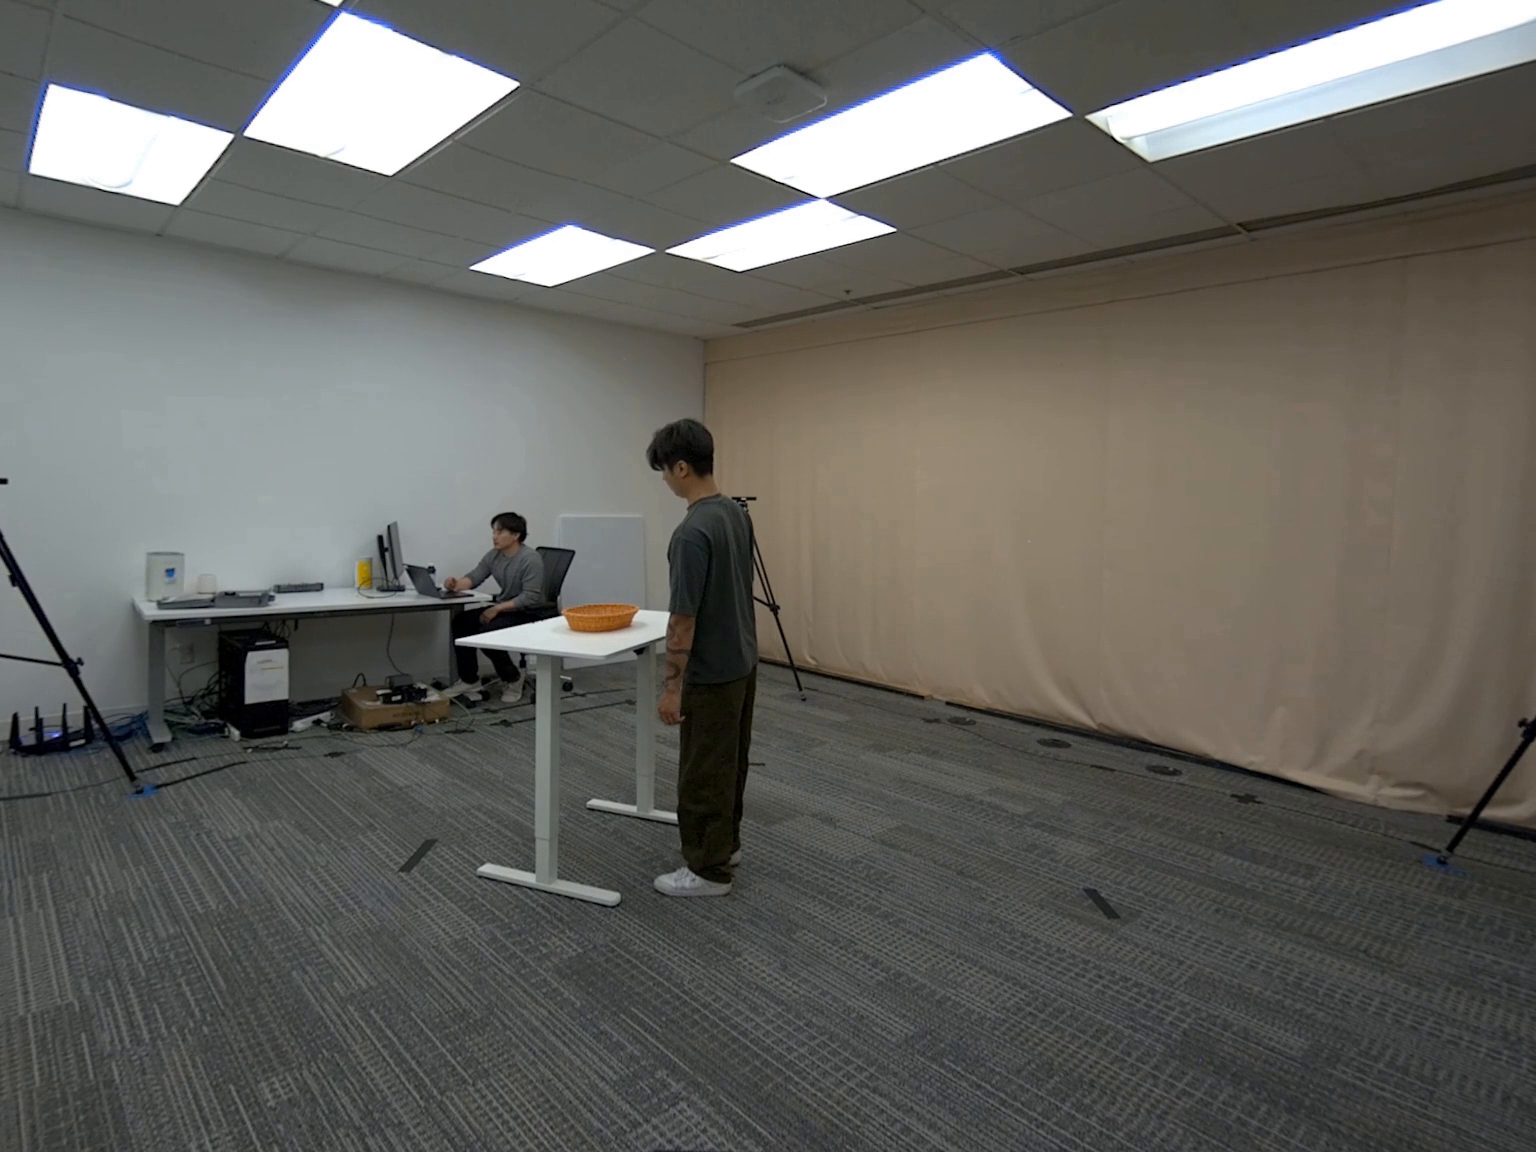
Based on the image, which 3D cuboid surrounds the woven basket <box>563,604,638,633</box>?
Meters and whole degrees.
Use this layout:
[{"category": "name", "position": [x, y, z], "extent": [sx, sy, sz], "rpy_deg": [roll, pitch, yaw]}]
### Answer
[{"category": "woven basket", "position": [-0.660, 0.167, 3.272], "extent": [0.257, 0.073, 0.345], "rpy_deg": [3, 6, 23]}]
